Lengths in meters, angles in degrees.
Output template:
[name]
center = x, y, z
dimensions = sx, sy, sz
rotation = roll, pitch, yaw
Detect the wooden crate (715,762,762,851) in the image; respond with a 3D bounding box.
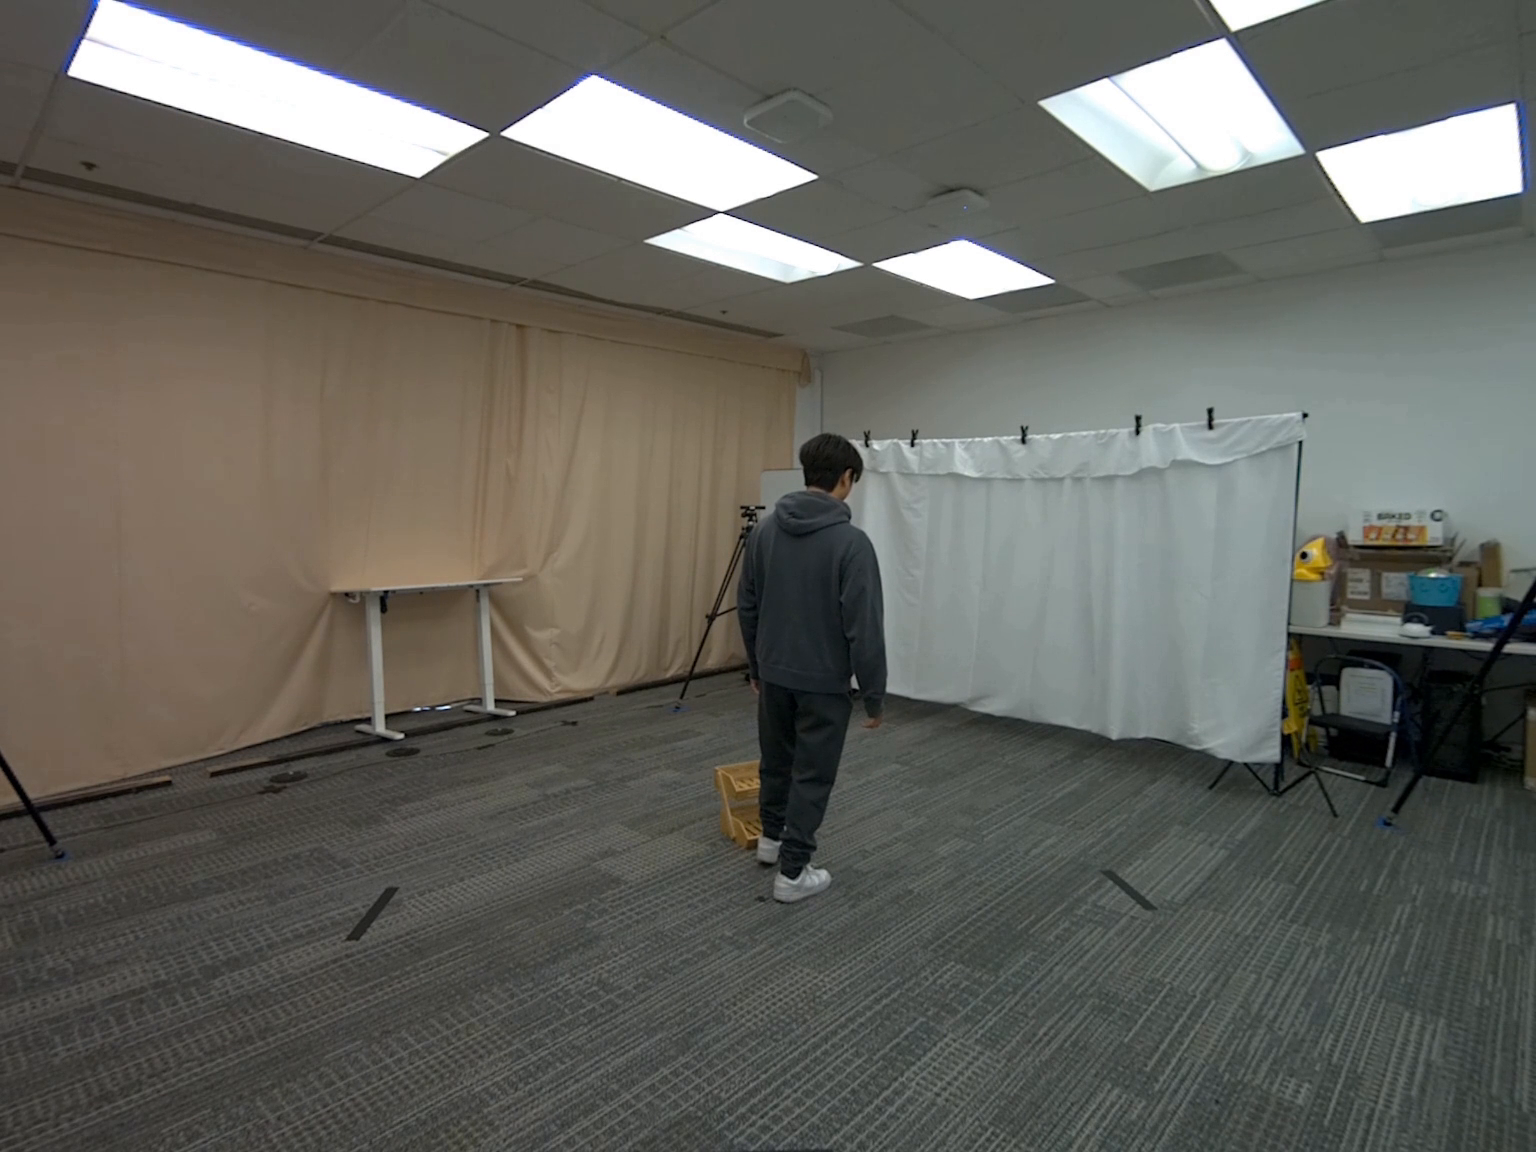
[wooden crate]
center = -0.021, 0.958, 3.591
dimensions = 0.316, 0.273, 0.310
rotation = -3, 4, -28
